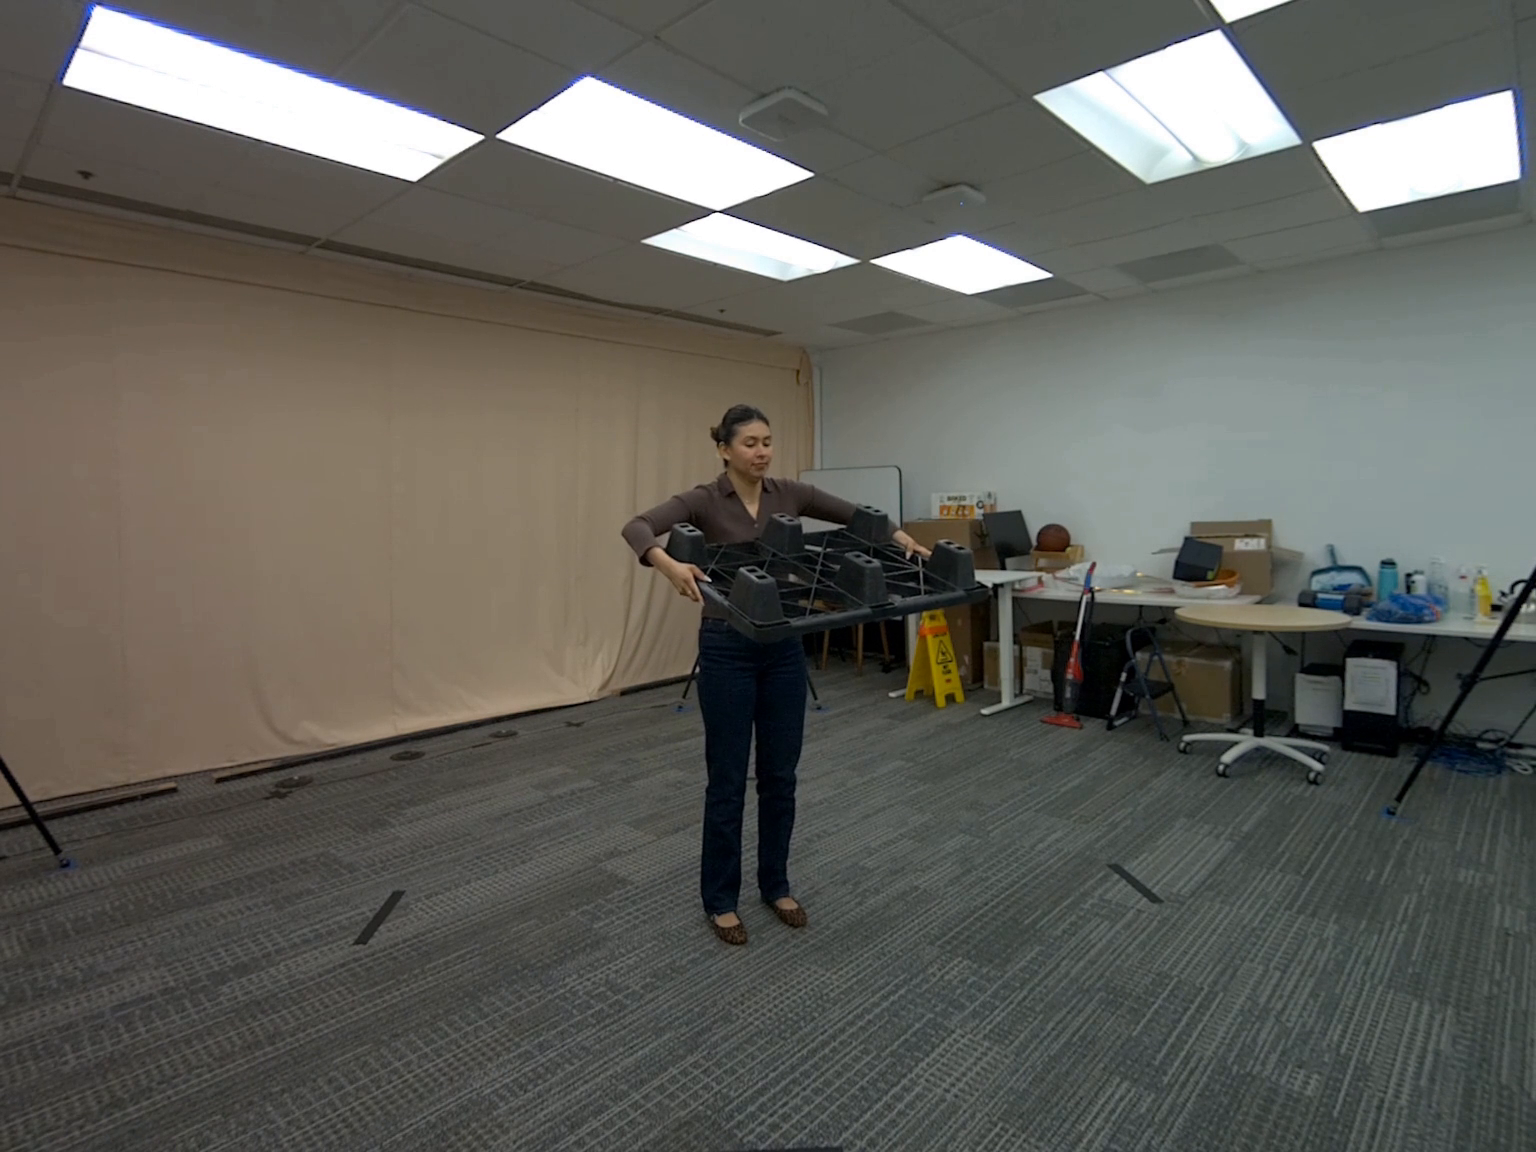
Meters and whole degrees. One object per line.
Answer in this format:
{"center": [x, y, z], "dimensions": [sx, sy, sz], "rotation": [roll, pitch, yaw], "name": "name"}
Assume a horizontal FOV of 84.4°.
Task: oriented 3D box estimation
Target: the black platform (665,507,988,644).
{"center": [0.156, -0.049, 2.426], "dimensions": [0.784, 0.142, 0.627], "rotation": [-8, 23, -32], "name": "black platform"}
